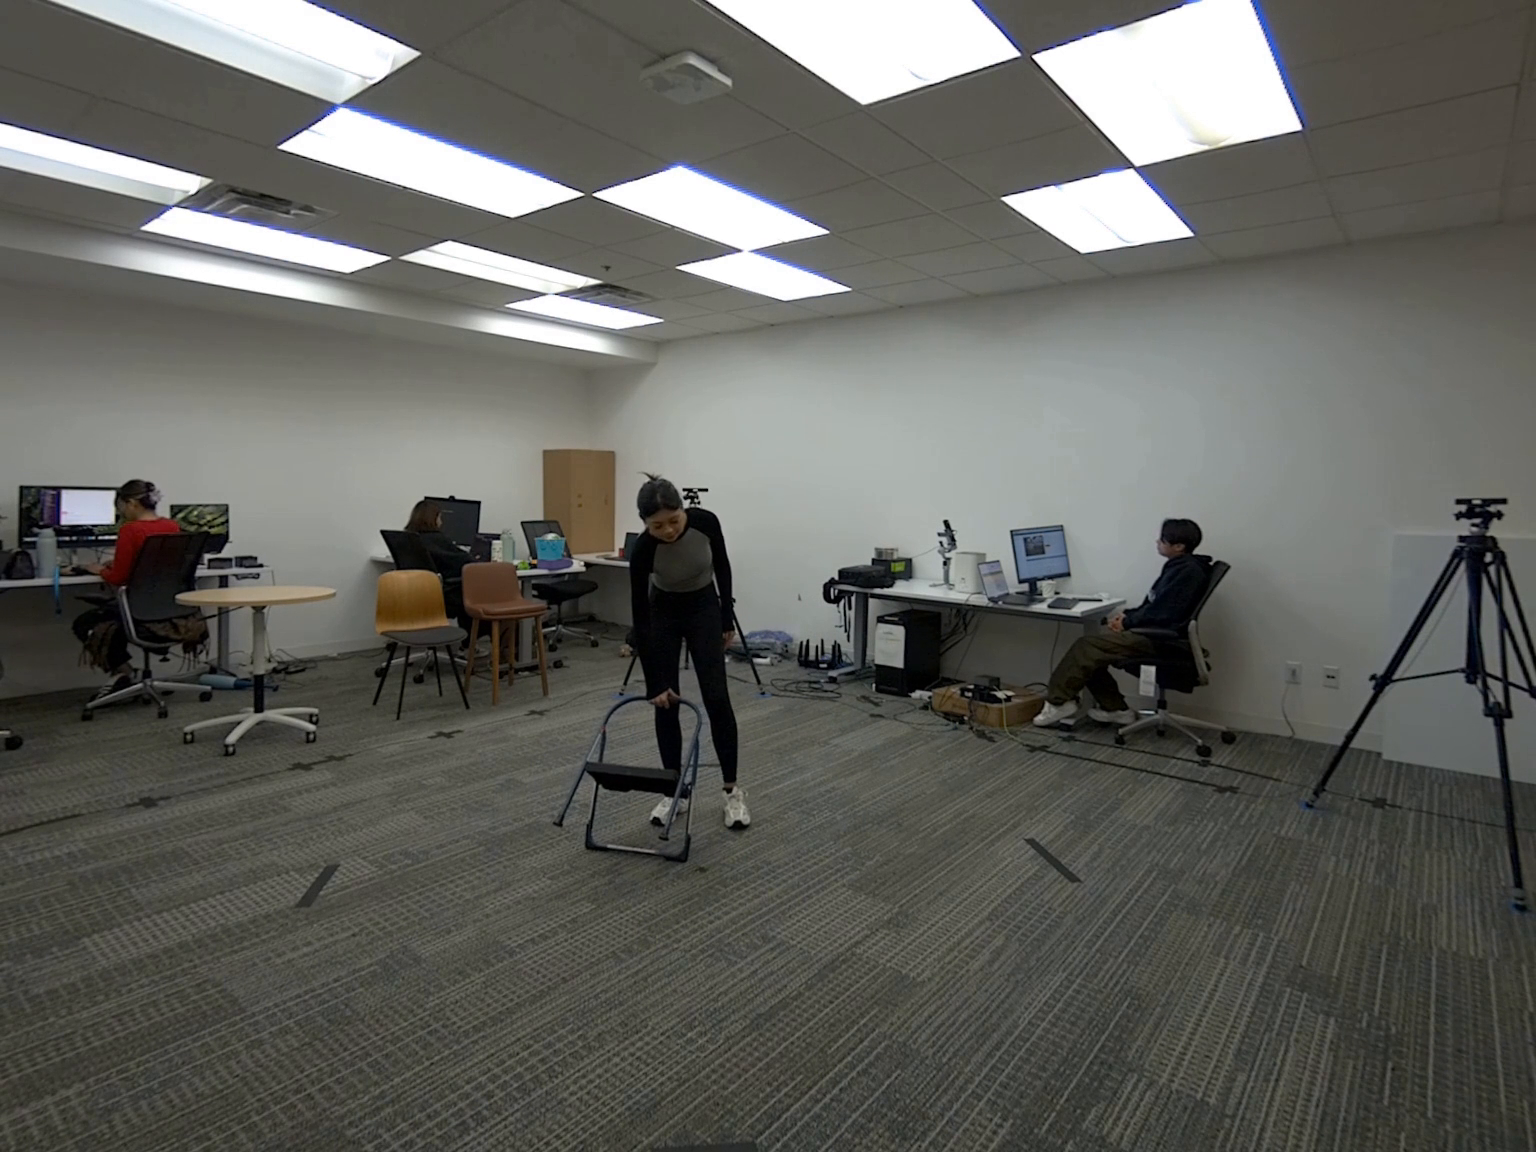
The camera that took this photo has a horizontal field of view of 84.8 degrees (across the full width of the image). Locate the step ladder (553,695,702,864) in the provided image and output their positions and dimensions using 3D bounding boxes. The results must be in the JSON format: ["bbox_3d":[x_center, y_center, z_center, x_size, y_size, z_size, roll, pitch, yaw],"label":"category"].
[{"bbox_3d":[-0.492,0.718,3.245,0.437,0.618,0.337,2,-33,13],"label":"step ladder"}]
